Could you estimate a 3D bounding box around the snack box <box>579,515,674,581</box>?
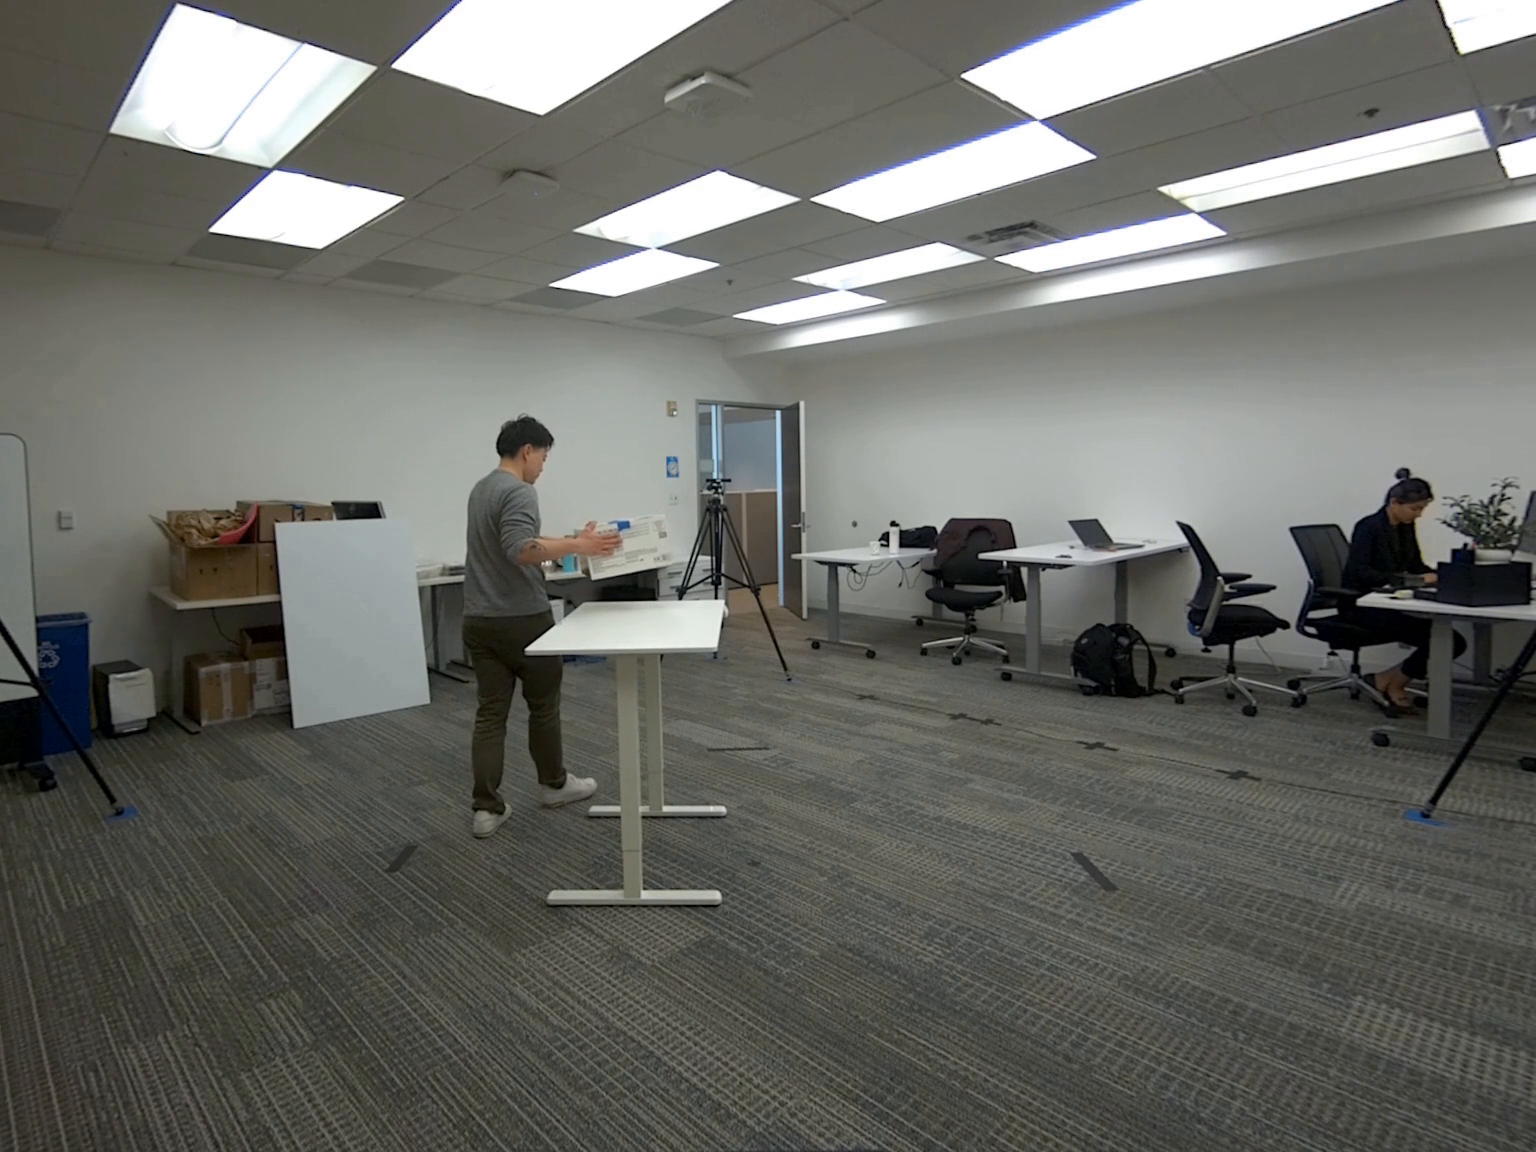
[{"bbox_3d":[-0.601,-0.126,3.540,0.337,0.204,0.411,-12,6,-14],"label":"snack box"}]
